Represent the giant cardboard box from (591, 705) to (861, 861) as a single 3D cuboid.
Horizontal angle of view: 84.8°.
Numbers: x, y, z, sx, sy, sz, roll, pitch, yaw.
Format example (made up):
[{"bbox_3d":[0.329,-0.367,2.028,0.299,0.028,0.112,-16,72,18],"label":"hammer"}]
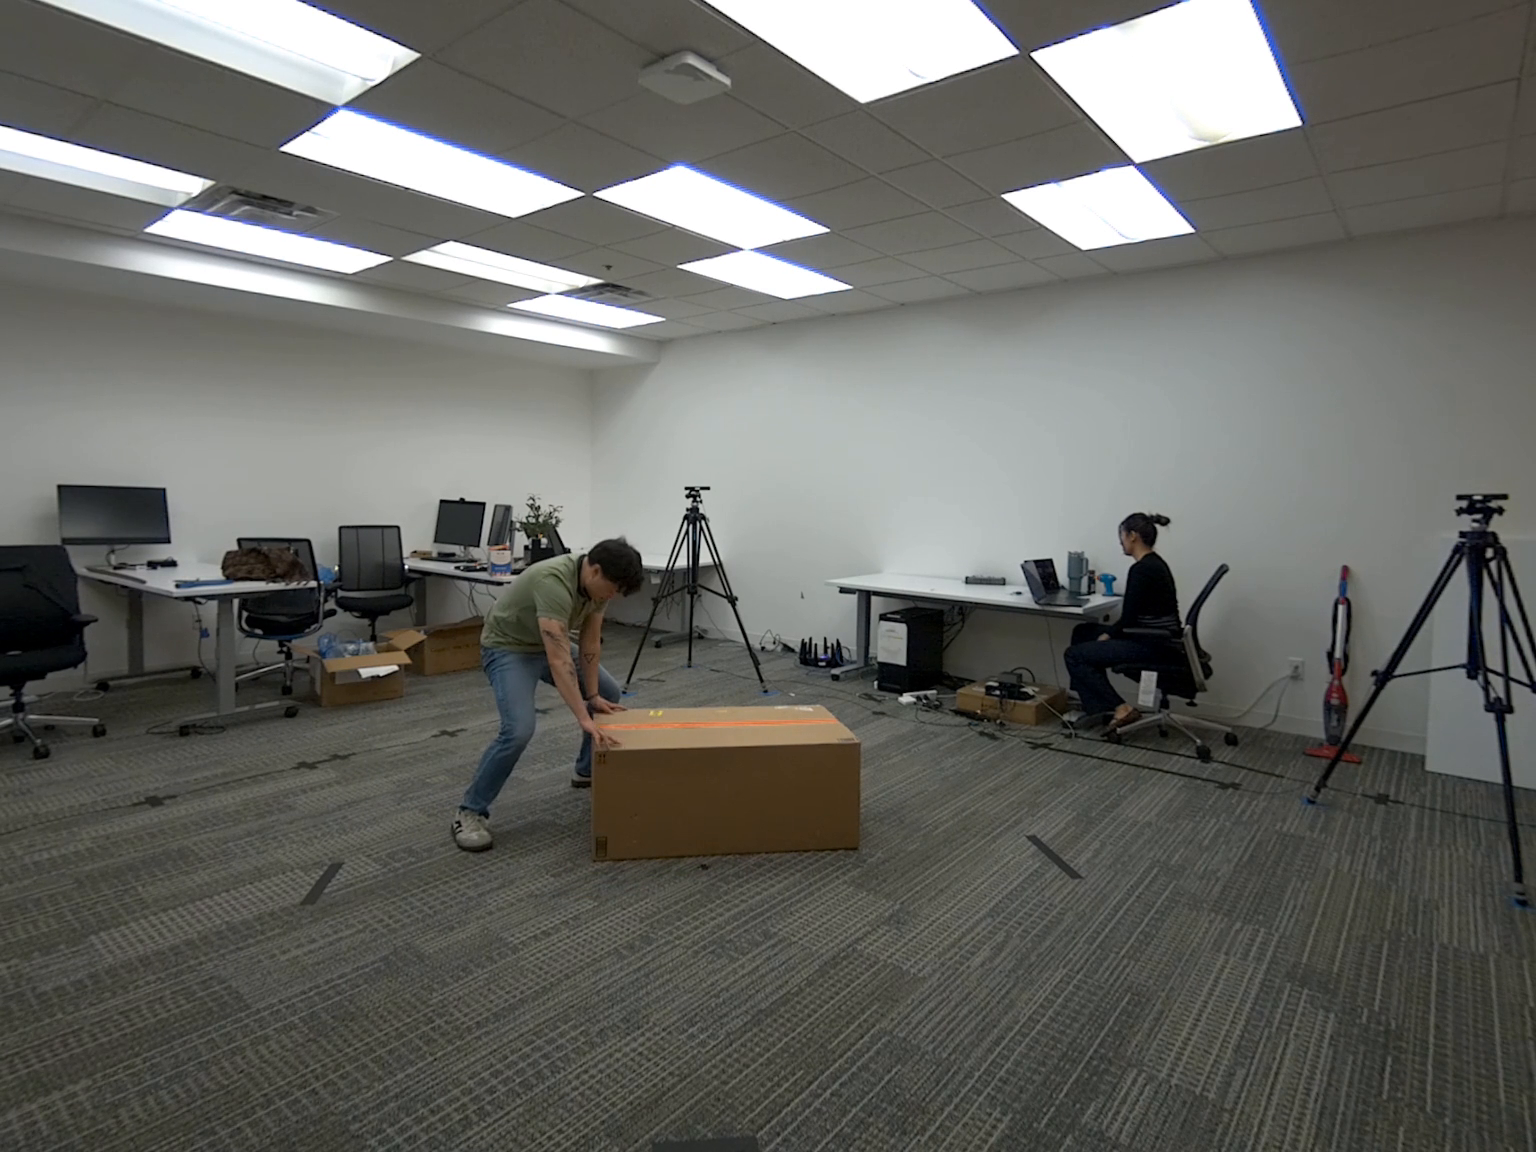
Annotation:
[{"bbox_3d":[-0.208,0.813,3.487,1.016,0.425,0.585,0,4,-10],"label":"giant cardboard box"}]
